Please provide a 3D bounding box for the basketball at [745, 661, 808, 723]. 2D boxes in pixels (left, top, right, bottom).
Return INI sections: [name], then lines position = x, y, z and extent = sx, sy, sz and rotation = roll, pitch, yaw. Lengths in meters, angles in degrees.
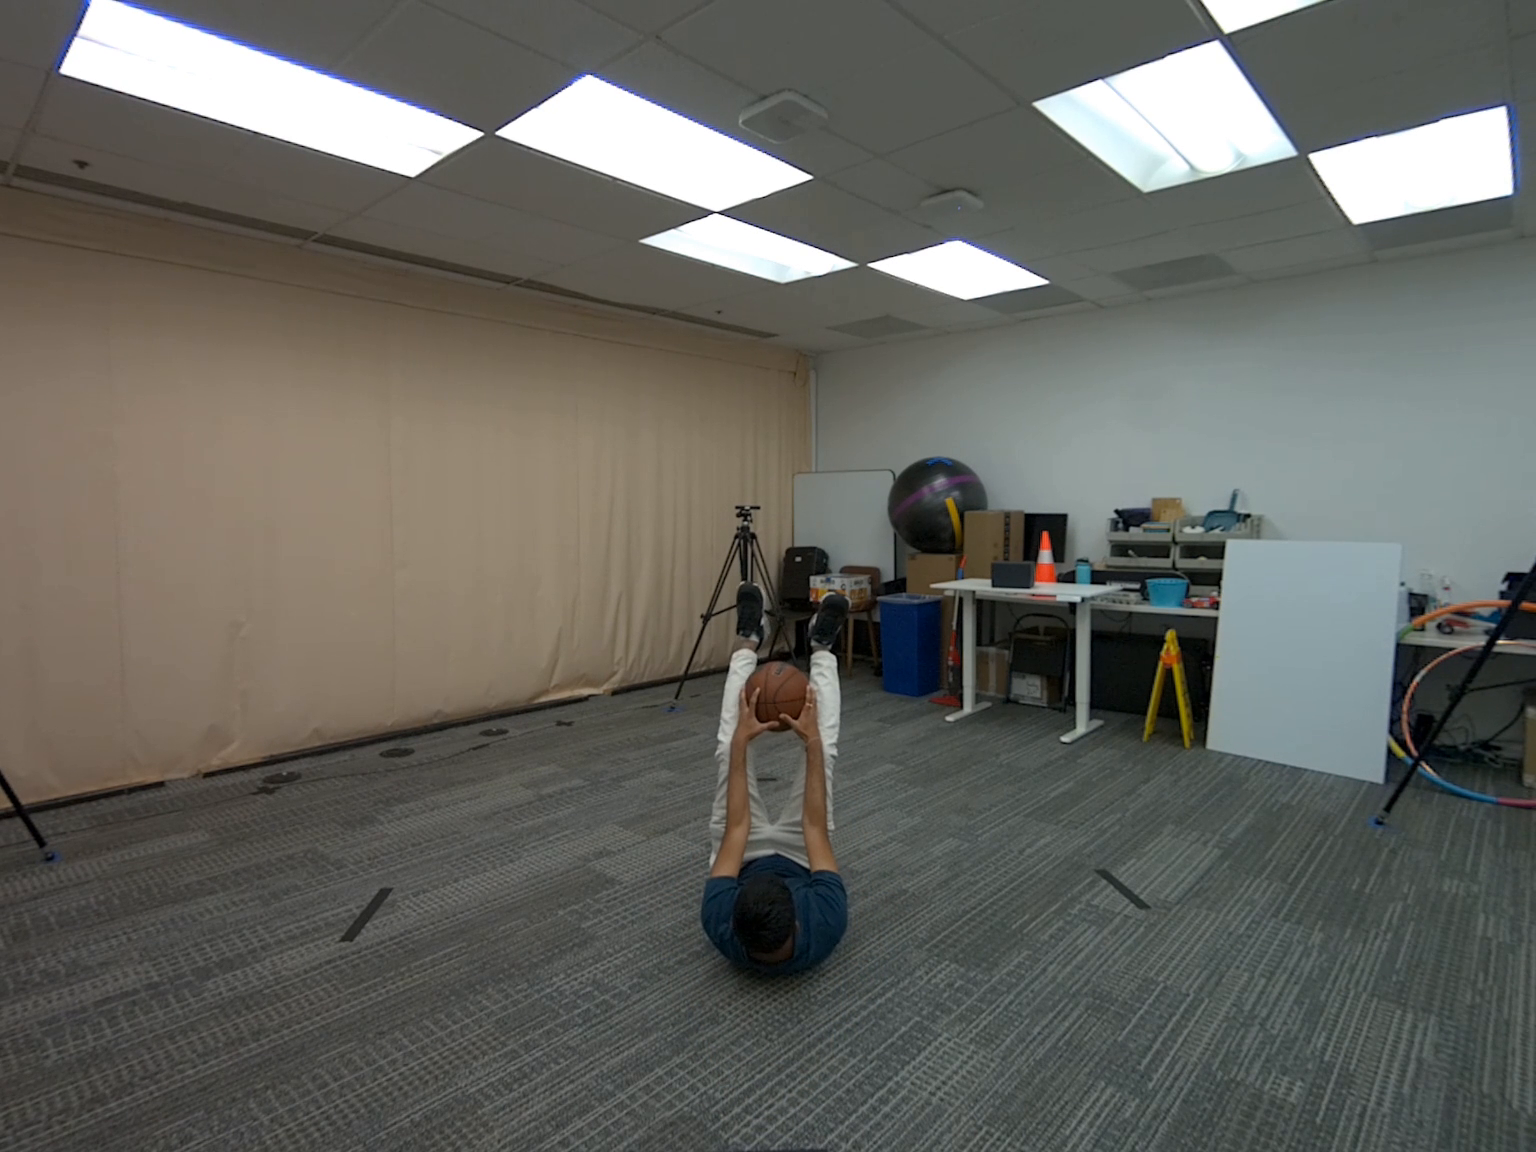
[basketball]
position = 0.040, 0.413, 2.897
extent = 0.236, 0.235, 0.237
rotation = 0, 4, -2
